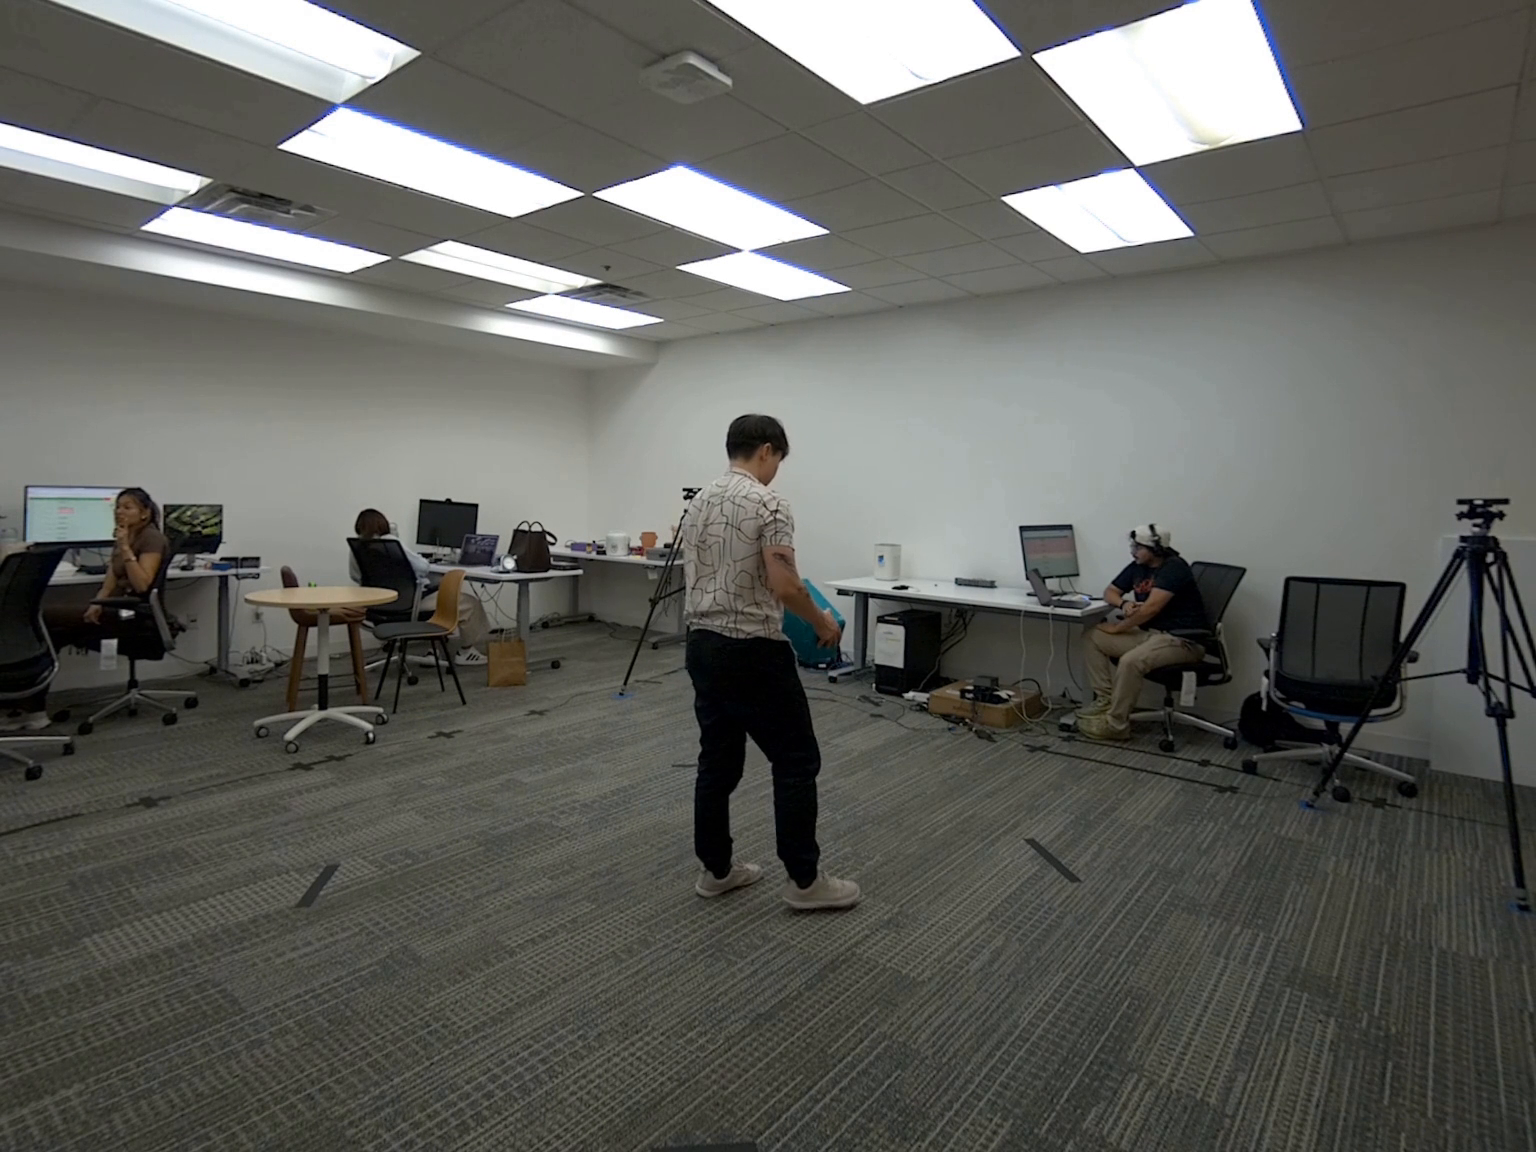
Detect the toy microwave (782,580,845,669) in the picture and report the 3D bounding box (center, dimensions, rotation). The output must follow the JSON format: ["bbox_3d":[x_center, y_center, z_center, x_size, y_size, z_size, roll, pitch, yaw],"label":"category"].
[{"bbox_3d":[0.139,0.160,3.061,0.149,0.180,0.298,-10,38,-28],"label":"toy microwave"}]
